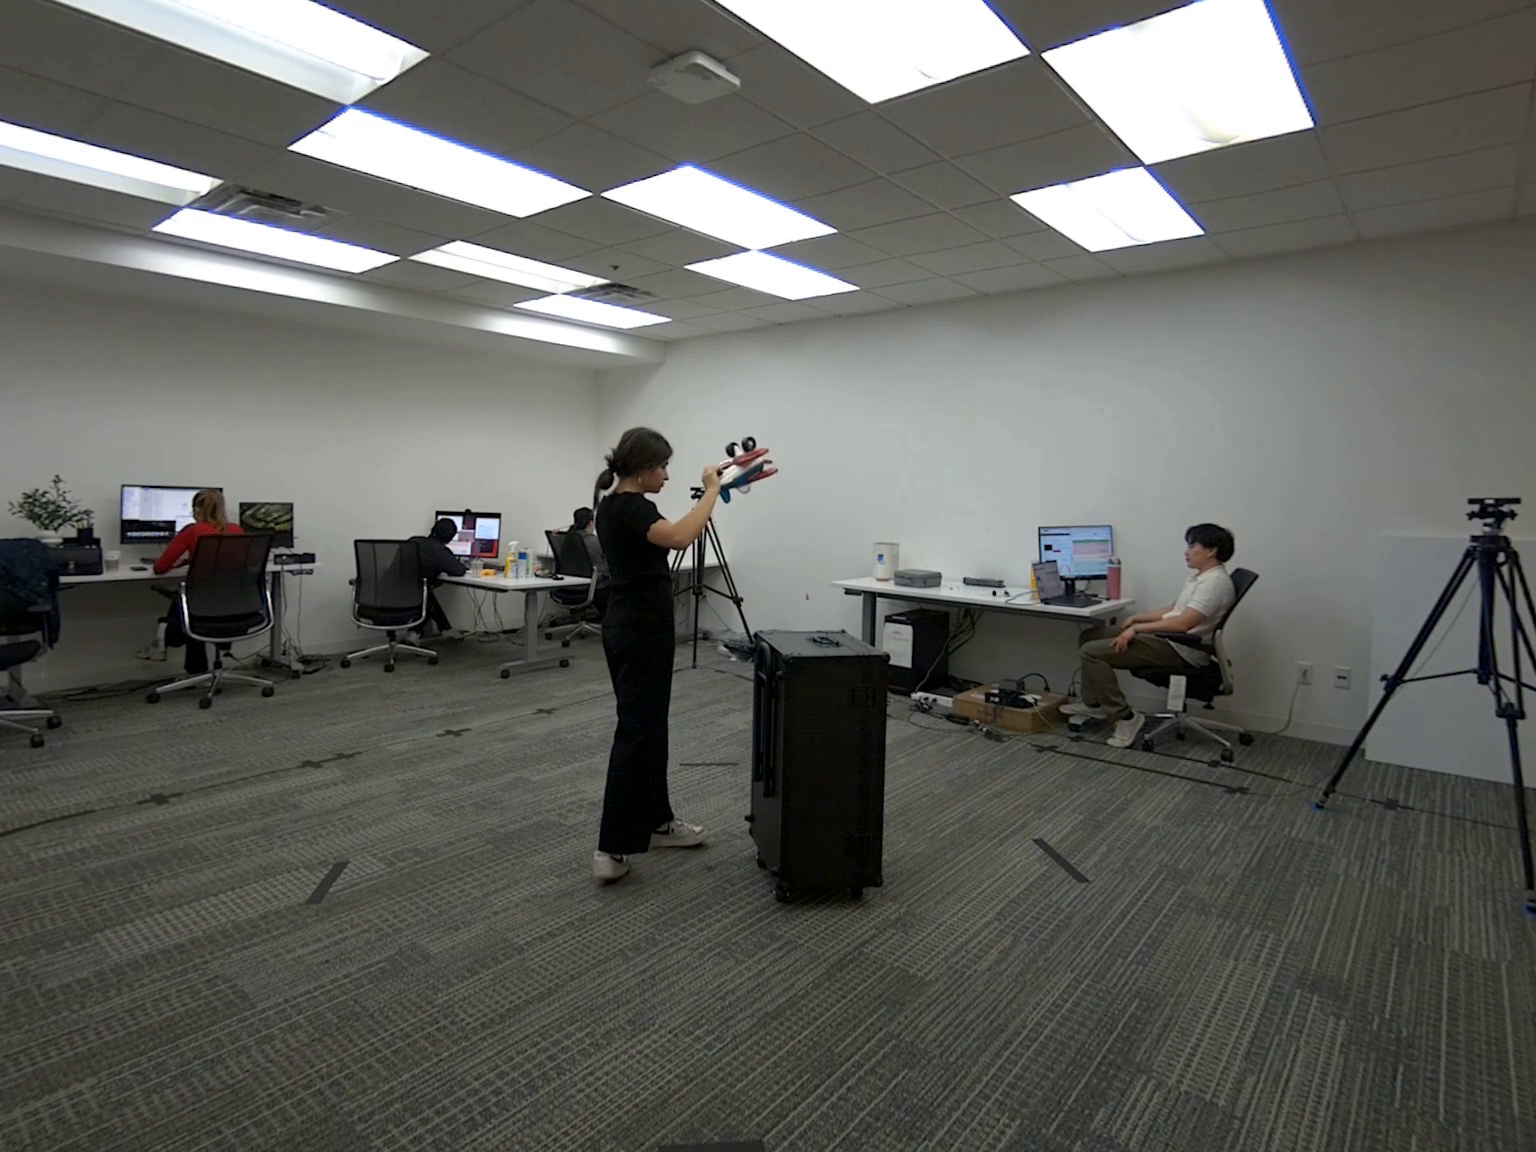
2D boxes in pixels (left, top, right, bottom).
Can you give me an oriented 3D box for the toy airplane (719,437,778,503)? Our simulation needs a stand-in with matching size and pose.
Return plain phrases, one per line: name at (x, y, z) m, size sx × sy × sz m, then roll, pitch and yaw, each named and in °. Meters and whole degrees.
toy airplane at (-0.133, -0.373, 3.067) m, size 0.259 × 0.152 × 0.258 m, roll -42°, pitch 22°, yaw -10°
